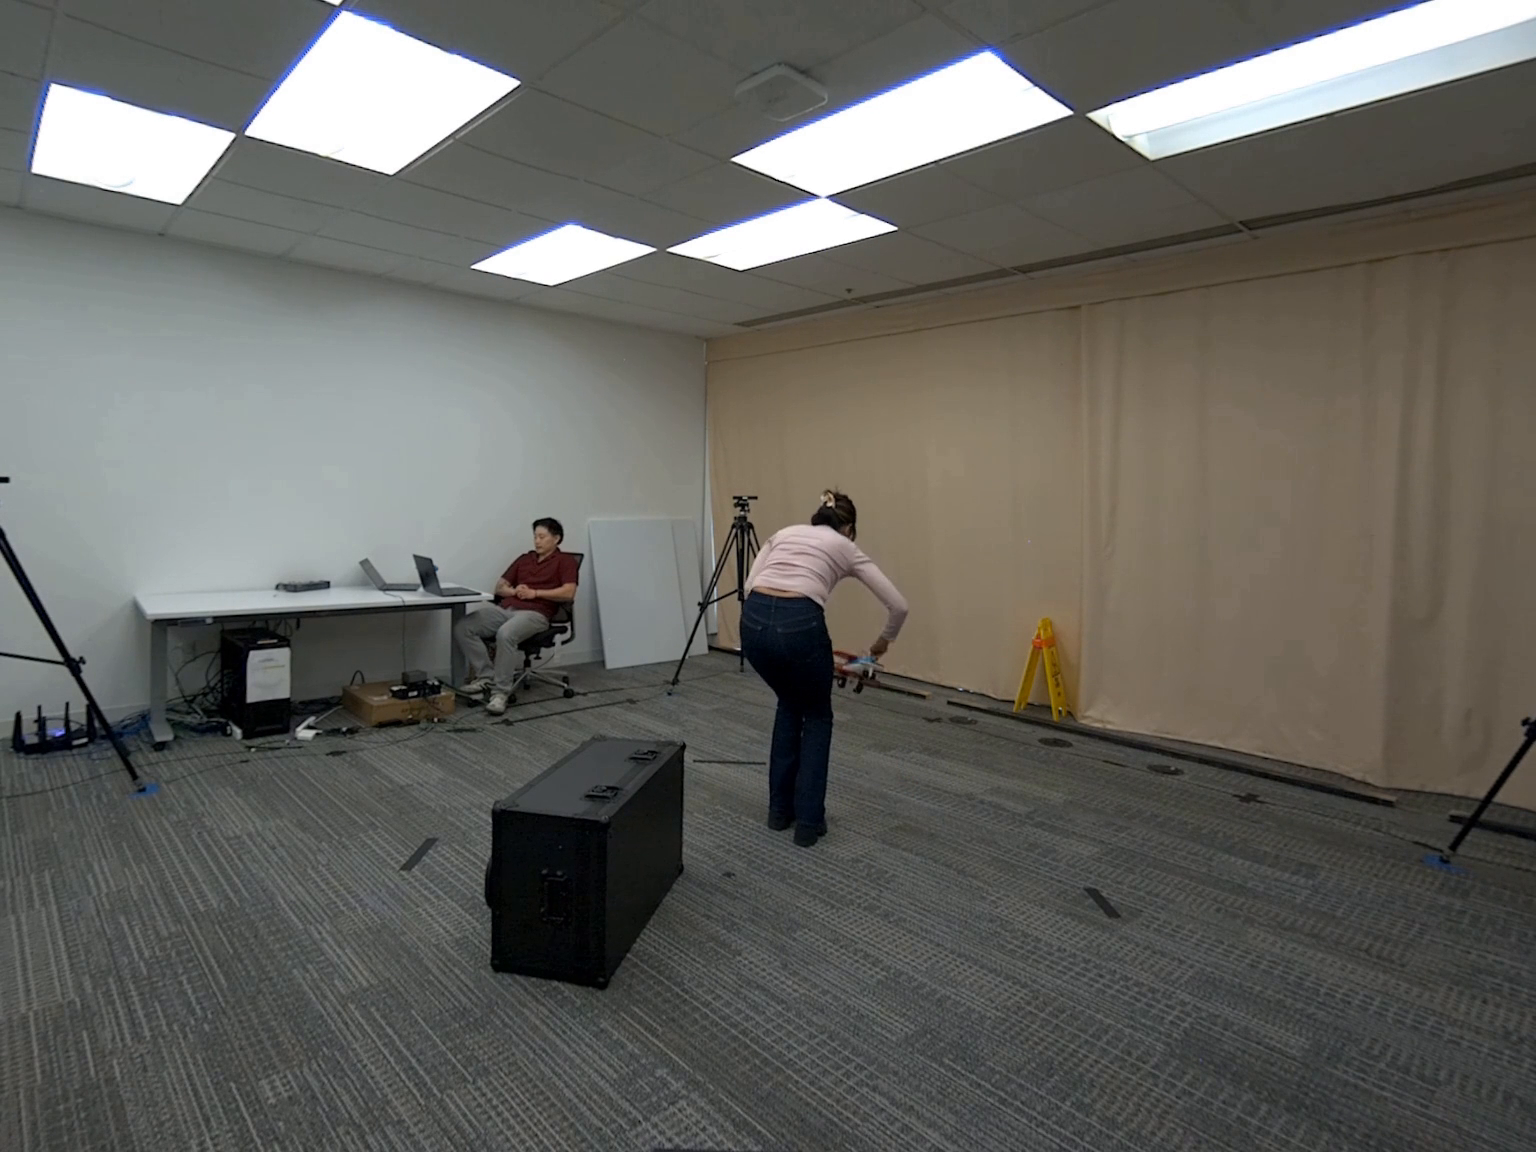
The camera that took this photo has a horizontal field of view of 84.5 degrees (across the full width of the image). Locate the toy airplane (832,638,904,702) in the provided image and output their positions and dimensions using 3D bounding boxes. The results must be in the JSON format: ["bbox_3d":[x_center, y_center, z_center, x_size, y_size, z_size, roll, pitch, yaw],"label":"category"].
[{"bbox_3d":[0.425,0.427,3.831,0.263,0.159,0.244,-19,-41,40],"label":"toy airplane"}]
